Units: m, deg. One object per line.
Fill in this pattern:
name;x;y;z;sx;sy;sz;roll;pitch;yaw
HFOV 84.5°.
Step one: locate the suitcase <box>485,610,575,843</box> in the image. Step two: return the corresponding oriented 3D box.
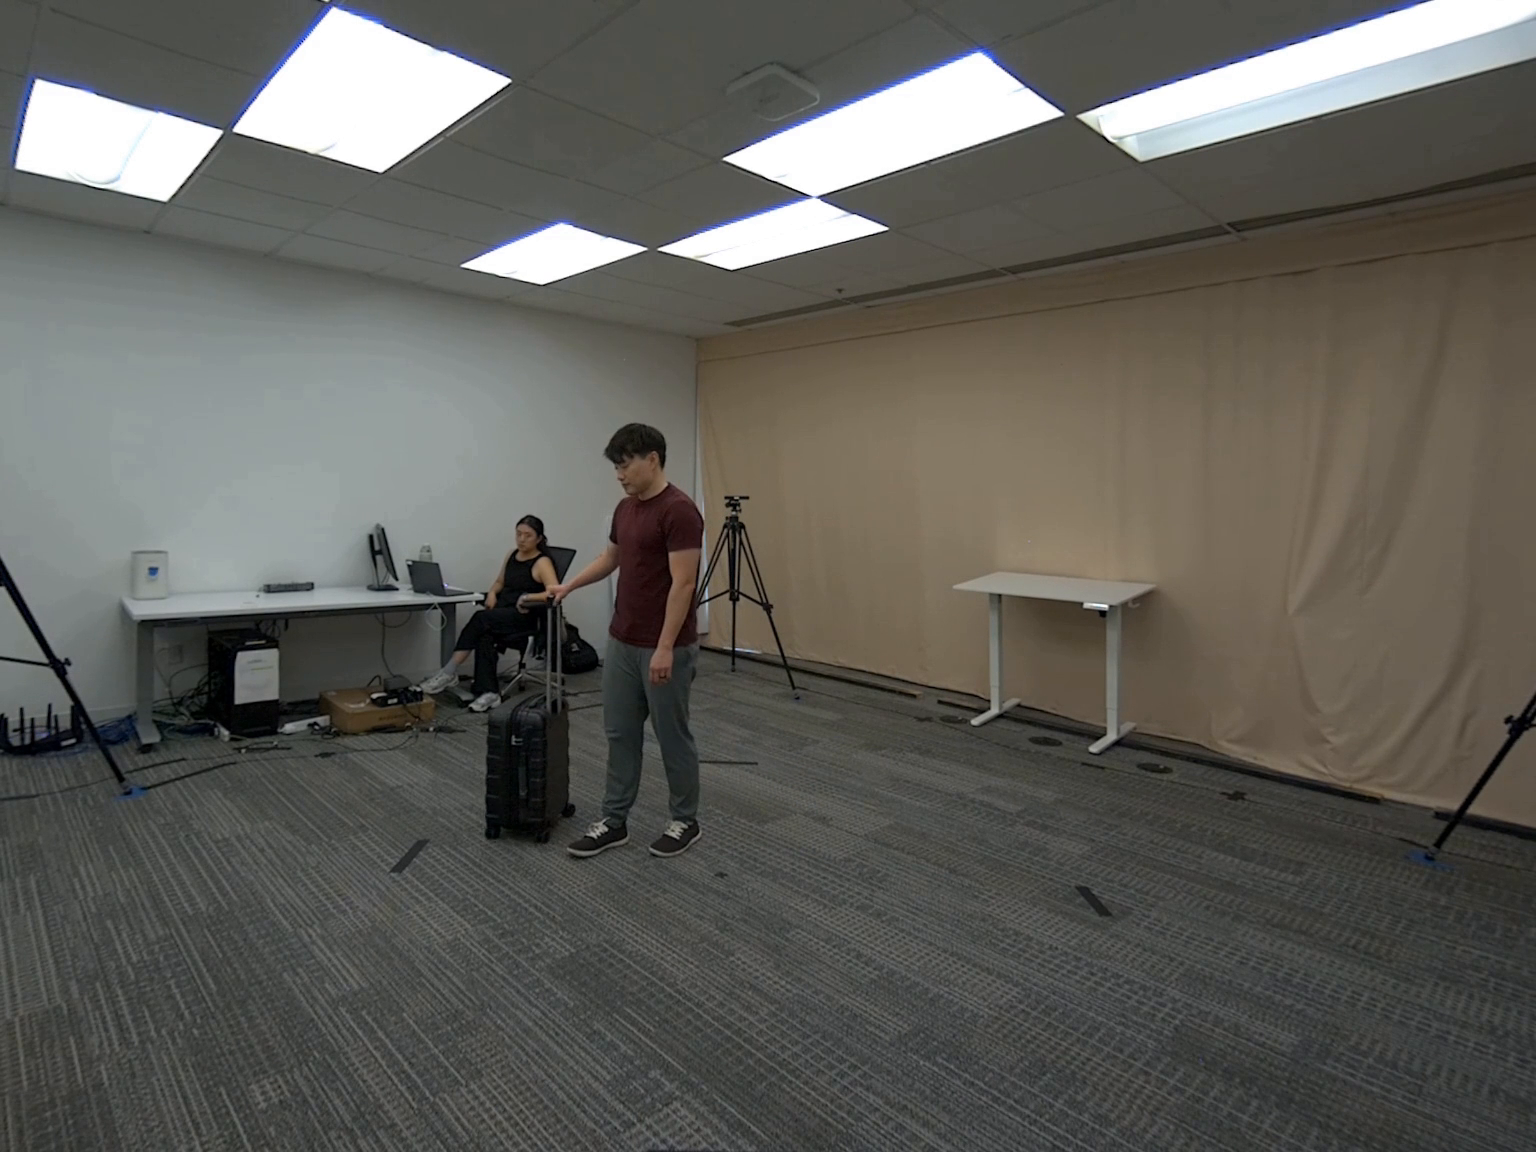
suitcase;-1.004;0.578;3.478;0.258;0.976;0.383;-2;3;5
